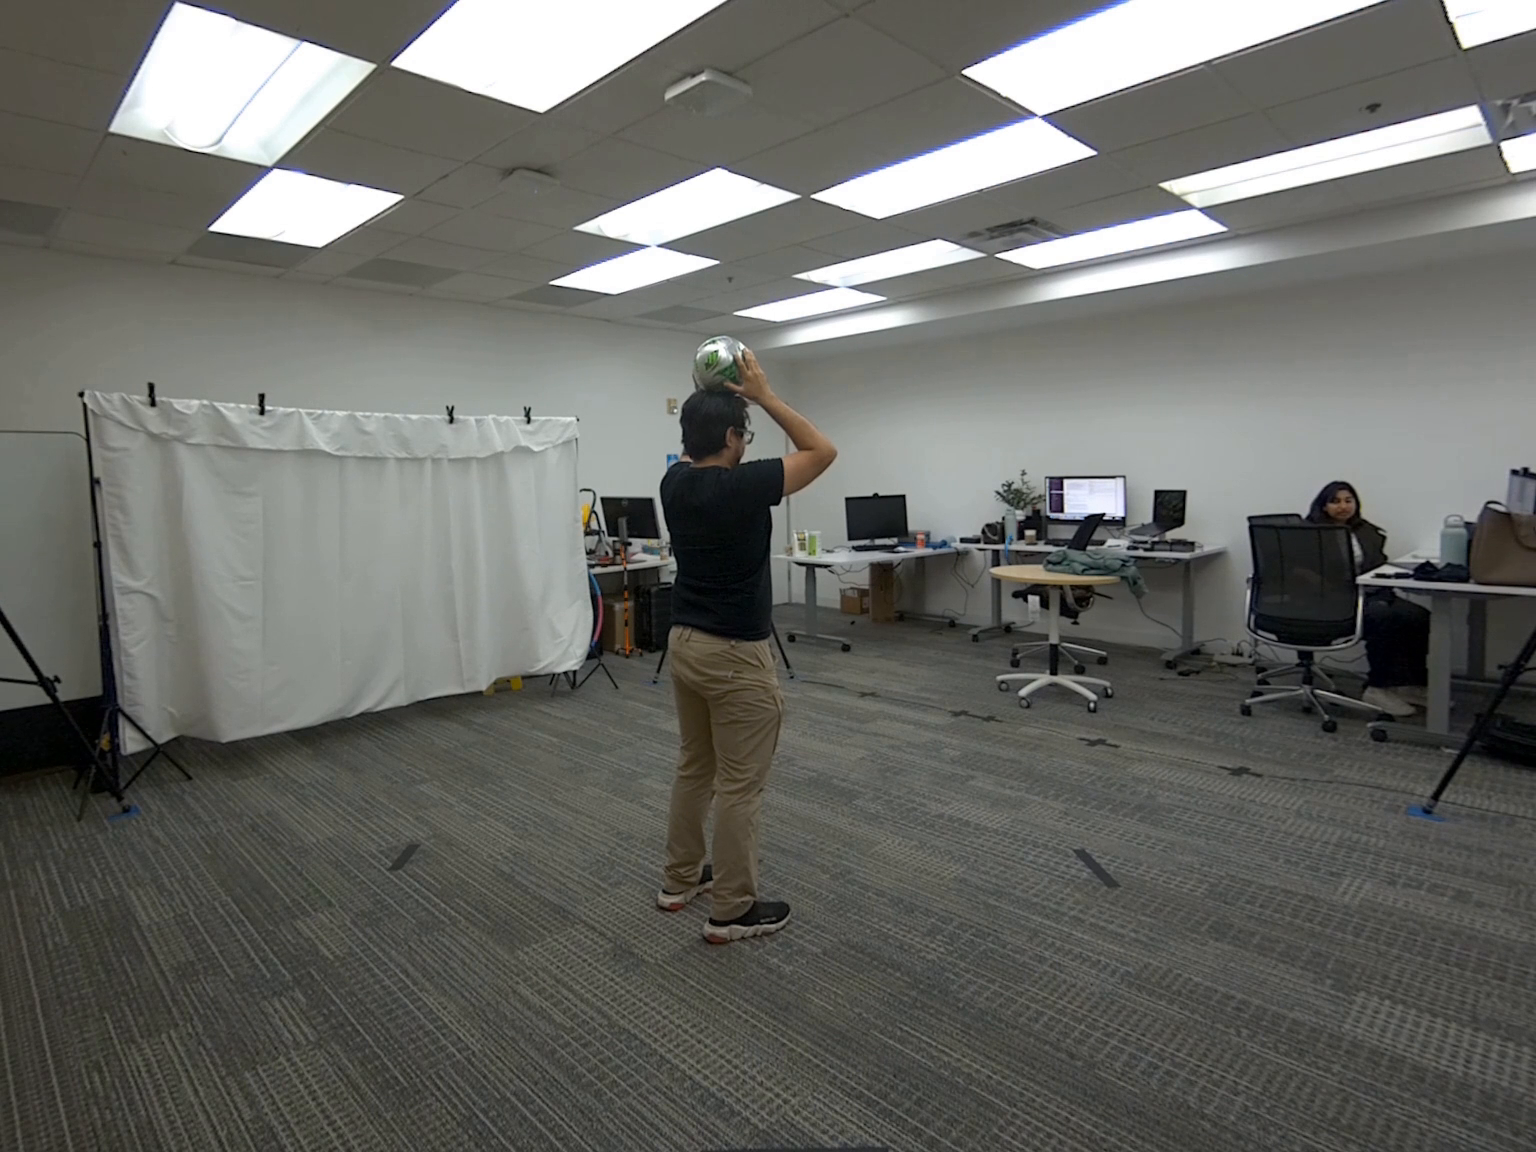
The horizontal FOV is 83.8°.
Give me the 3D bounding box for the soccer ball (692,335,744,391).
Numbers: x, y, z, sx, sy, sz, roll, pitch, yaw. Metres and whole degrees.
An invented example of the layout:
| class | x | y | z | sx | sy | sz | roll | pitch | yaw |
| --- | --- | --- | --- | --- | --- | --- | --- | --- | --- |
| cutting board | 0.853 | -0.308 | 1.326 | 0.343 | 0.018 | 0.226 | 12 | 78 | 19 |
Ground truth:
| class | x | y | z | sx | sy | sz | roll | pitch | yaw |
| --- | --- | --- | --- | --- | --- | --- | --- | --- | --- |
| soccer ball | -0.139 | -0.650 | 2.665 | 0.187 | 0.187 | 0.188 | -1 | 5 | -2 |
